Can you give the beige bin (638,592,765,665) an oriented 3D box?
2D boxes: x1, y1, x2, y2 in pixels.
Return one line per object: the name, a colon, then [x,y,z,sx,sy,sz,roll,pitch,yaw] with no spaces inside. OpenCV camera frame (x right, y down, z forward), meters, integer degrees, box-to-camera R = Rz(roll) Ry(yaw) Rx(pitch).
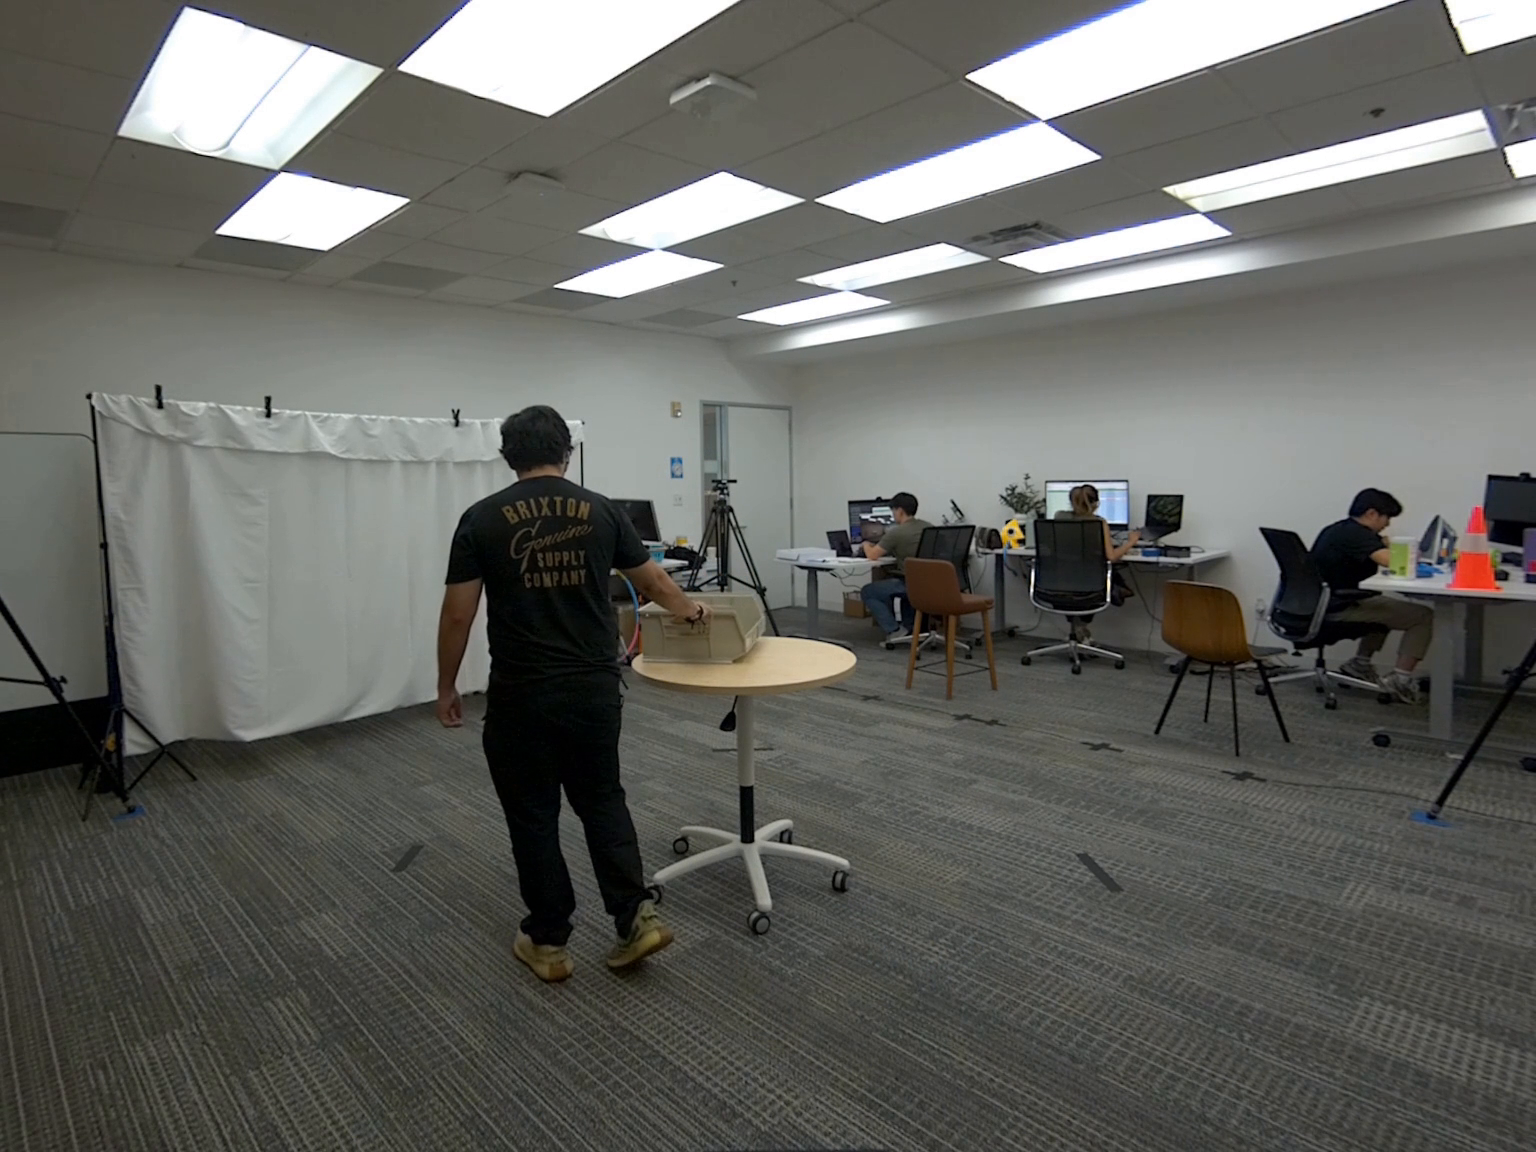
beige bin: [-0.224,0.176,3.071,0.381,0.188,0.420,-2,7,10]
